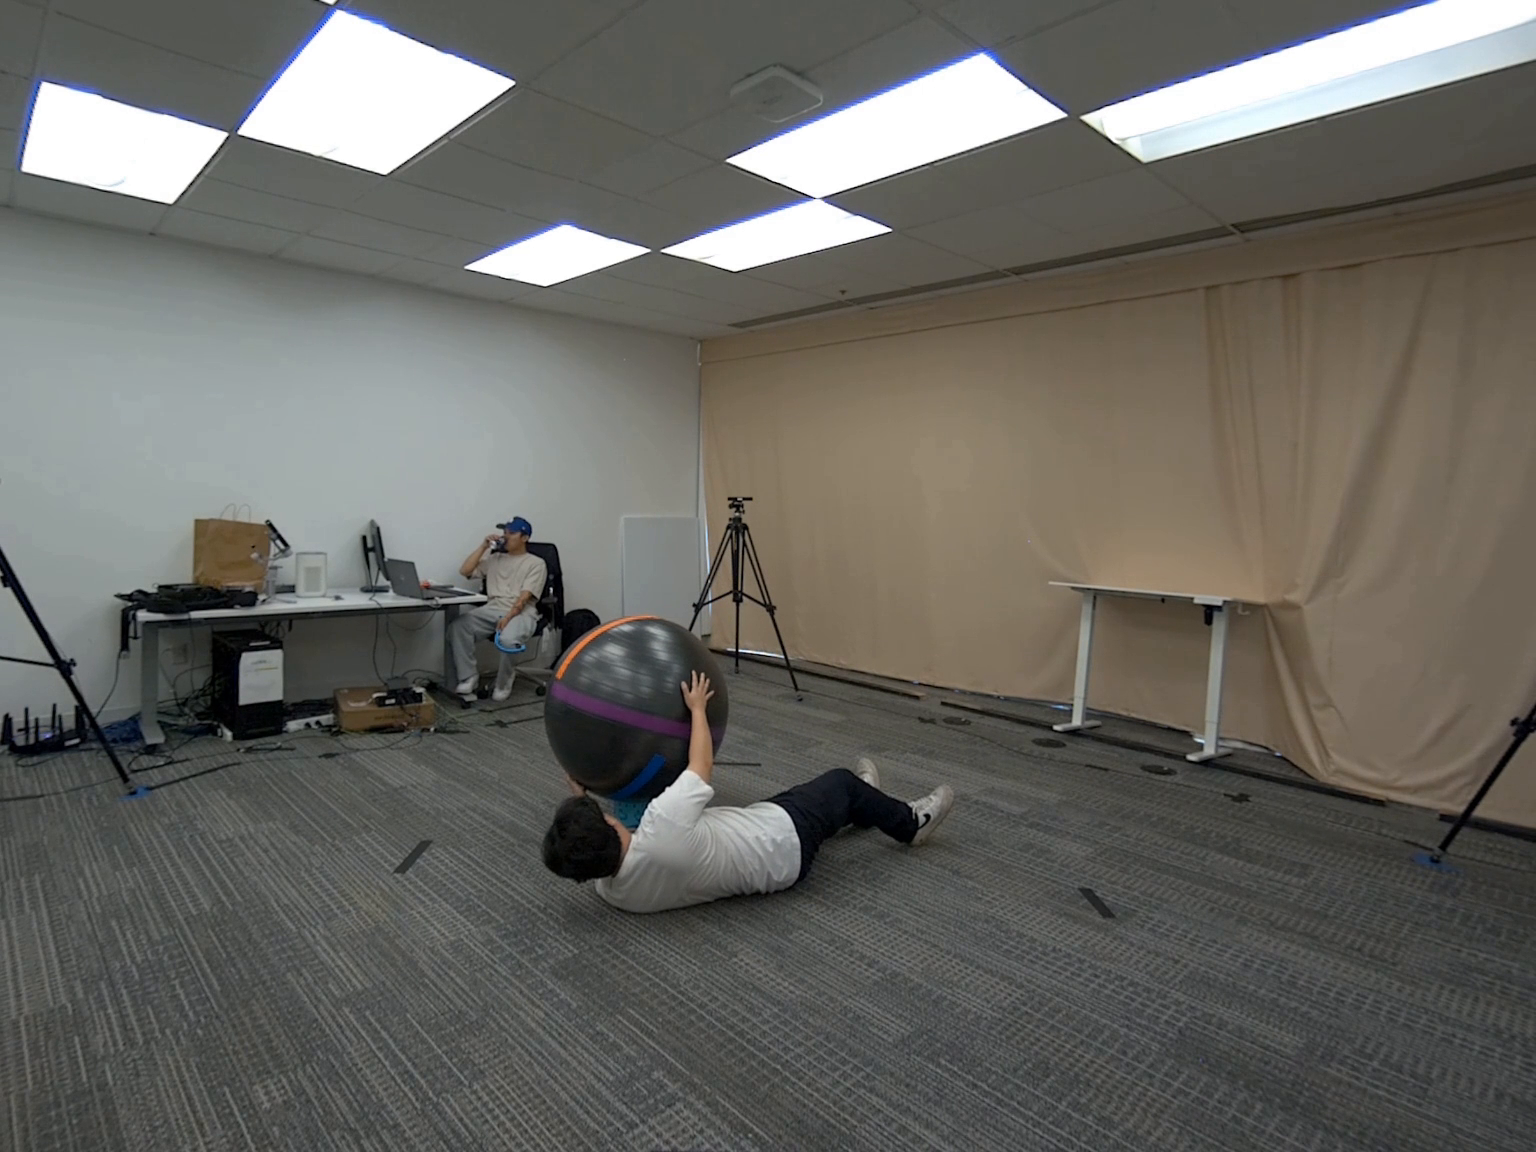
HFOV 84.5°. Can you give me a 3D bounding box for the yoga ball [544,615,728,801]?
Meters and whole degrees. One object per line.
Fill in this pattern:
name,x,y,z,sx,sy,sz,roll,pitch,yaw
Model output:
yoga ball,-0.553,0.551,3.516,0.757,0.756,0.761,1,4,-1
